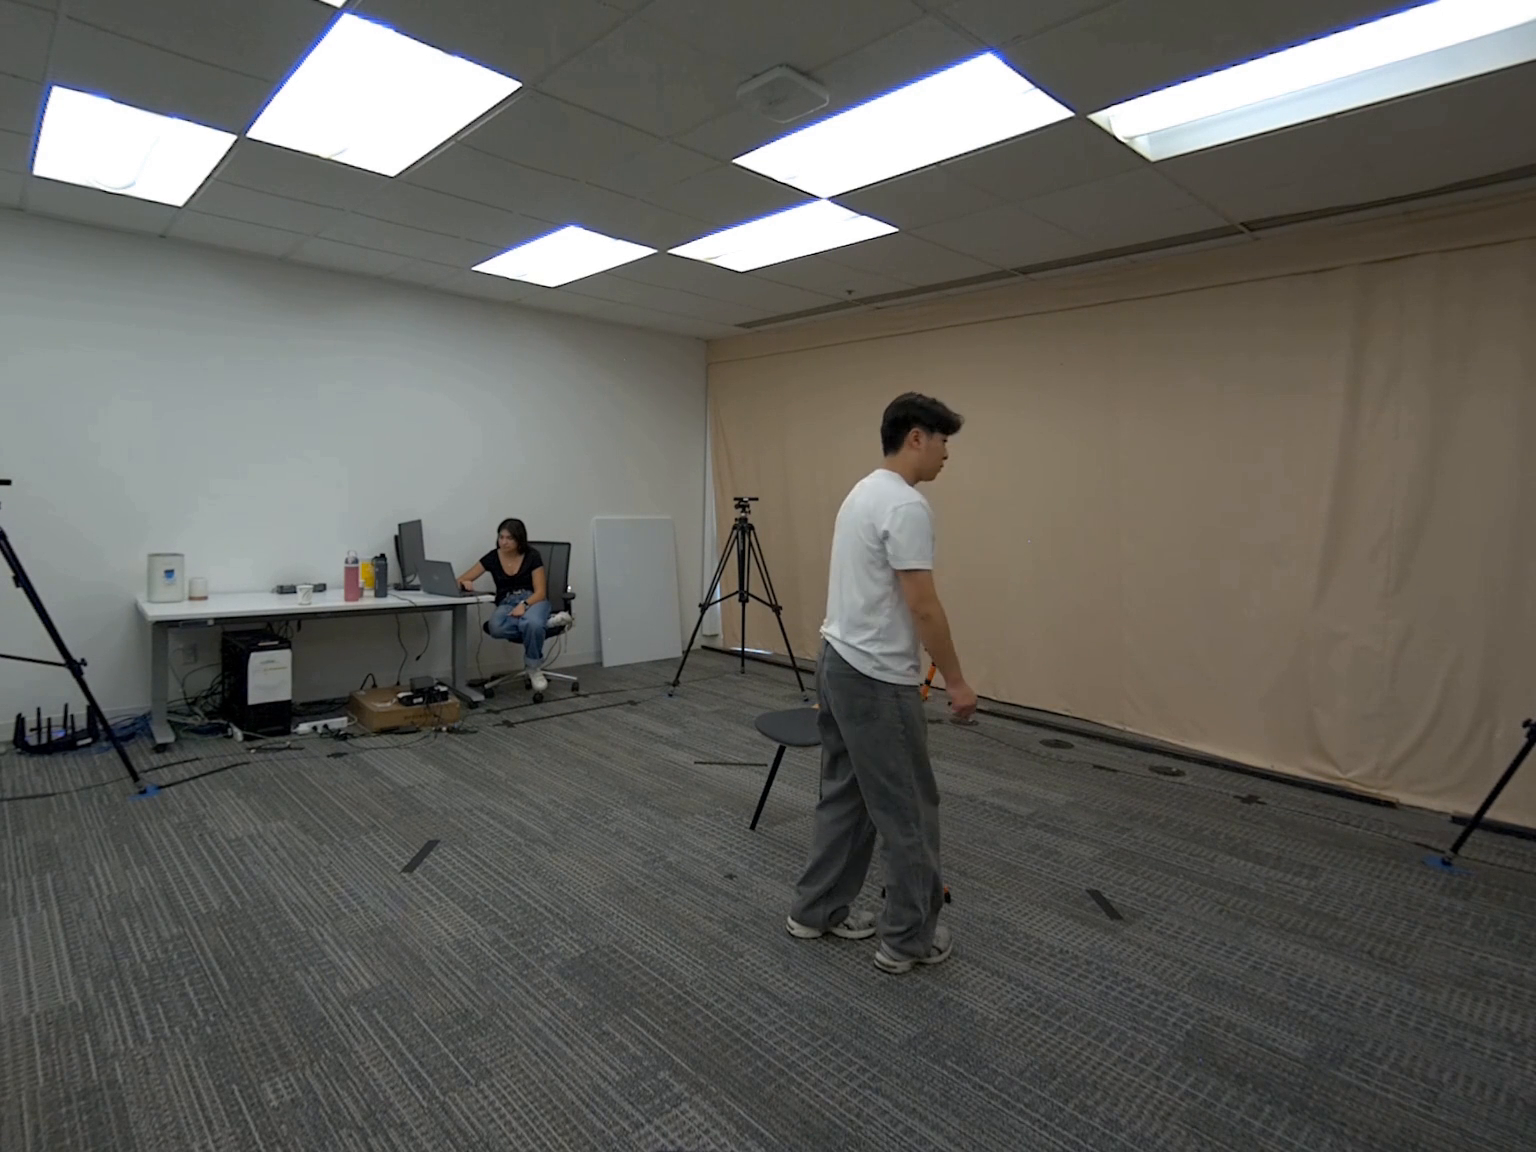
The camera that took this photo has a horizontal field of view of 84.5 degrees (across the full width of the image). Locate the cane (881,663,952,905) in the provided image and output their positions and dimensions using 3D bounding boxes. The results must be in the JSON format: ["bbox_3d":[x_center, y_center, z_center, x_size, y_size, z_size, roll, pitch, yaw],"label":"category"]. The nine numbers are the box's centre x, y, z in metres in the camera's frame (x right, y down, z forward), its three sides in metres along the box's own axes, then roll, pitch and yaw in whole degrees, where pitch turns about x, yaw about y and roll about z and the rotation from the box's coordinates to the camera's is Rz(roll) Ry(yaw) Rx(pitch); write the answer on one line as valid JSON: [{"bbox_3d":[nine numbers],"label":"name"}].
[{"bbox_3d":[0.540,0.695,2.930,0.202,0.906,0.155,0,3,-30],"label":"cane"}]
